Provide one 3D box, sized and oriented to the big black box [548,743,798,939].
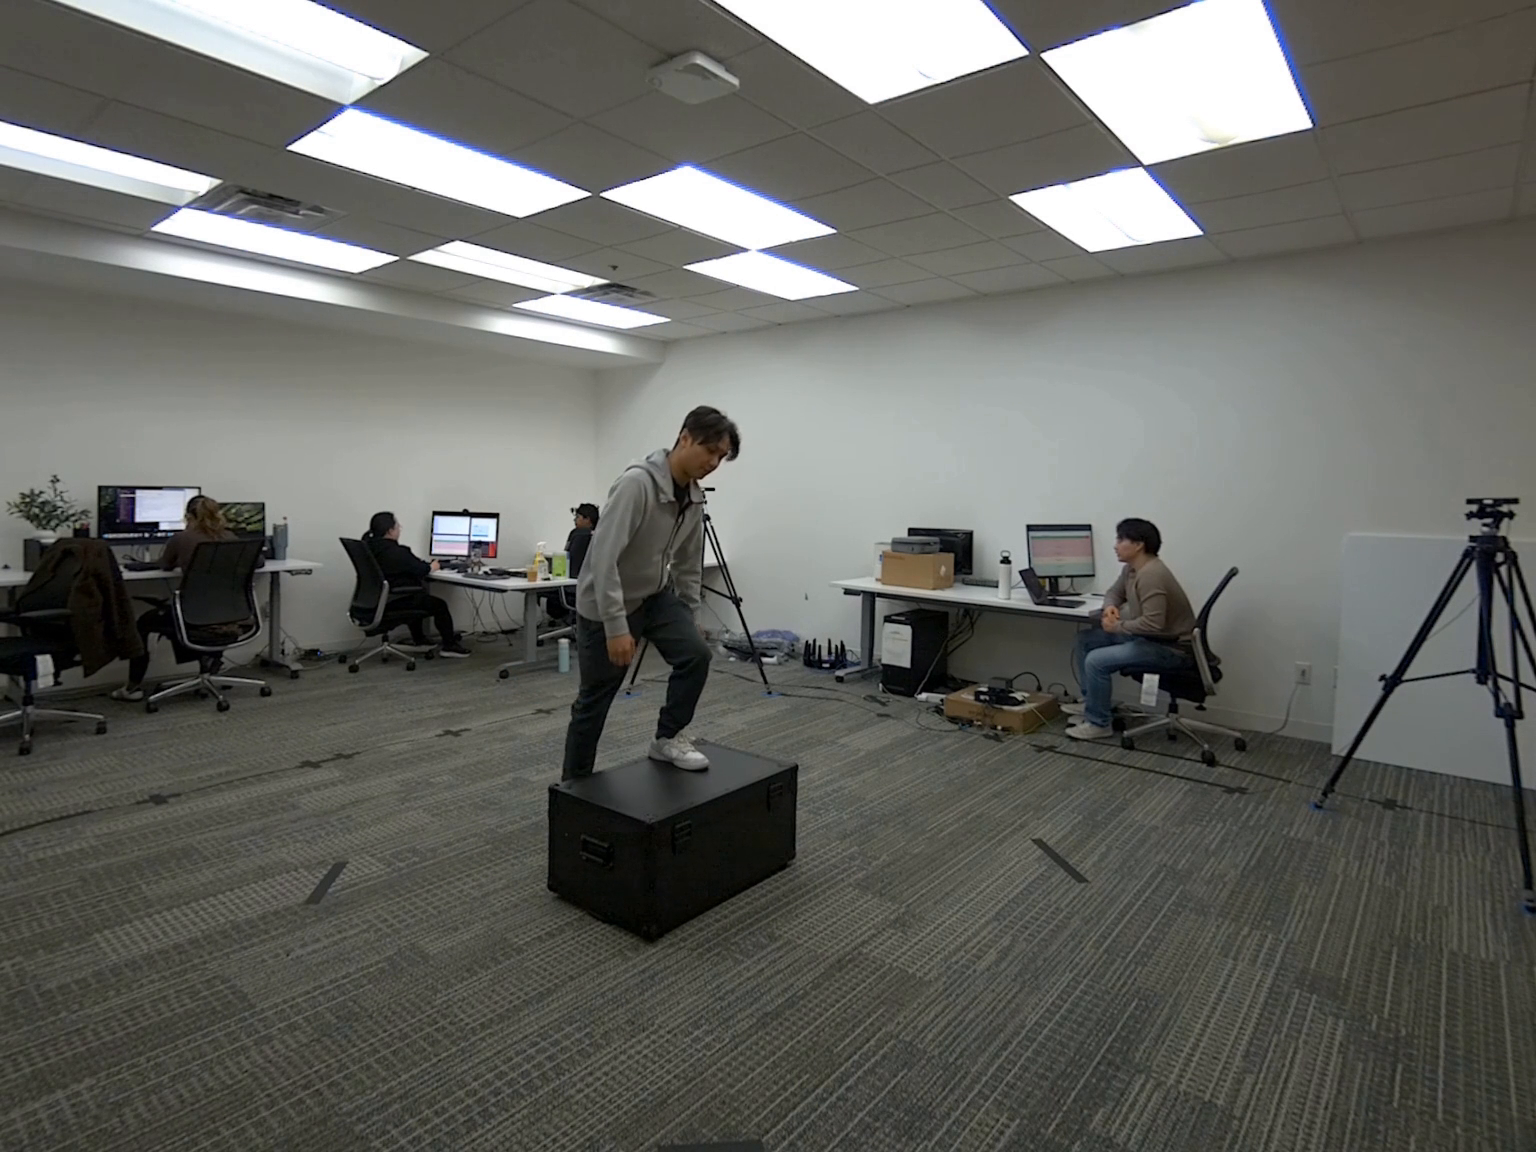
[{"bbox_3d":[-0.305,0.882,3.031,0.538,0.395,0.837,5,7,37],"label":"big black box"}]
